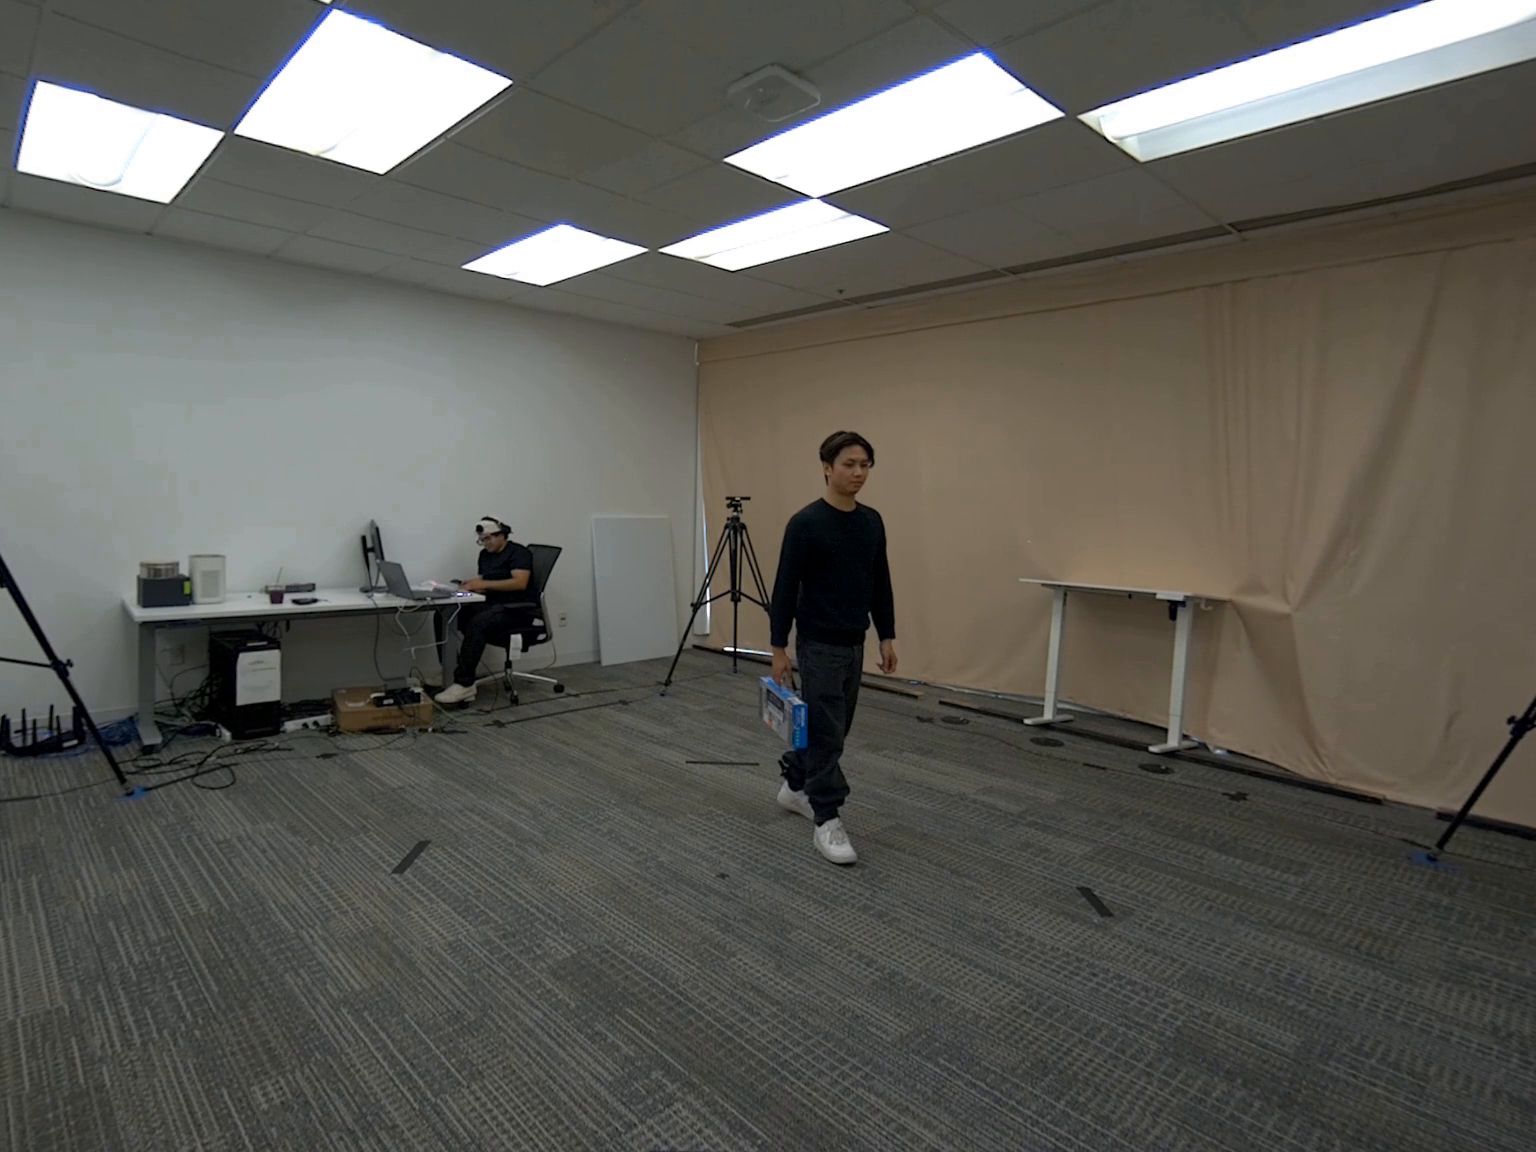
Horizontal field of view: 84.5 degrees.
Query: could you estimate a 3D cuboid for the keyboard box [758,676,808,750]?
[{"bbox_3d":[0.048,0.543,3.404,0.058,0.175,0.444,-2,7,-17],"label":"keyboard box"}]
